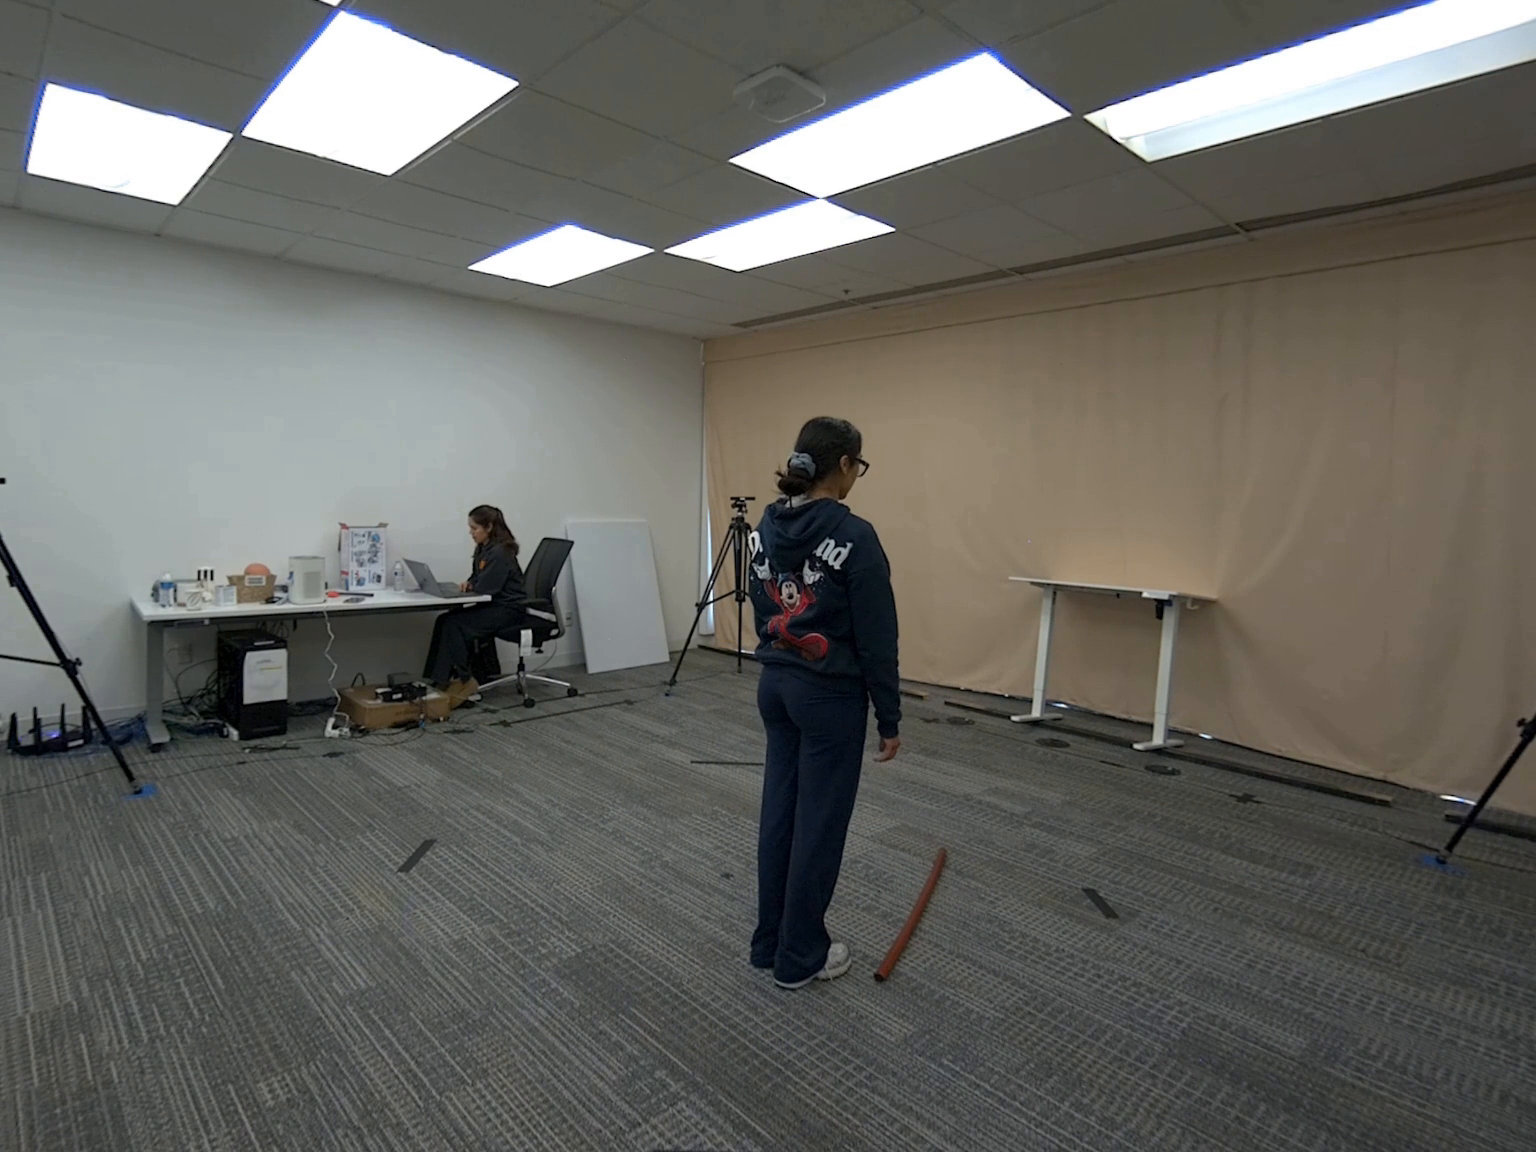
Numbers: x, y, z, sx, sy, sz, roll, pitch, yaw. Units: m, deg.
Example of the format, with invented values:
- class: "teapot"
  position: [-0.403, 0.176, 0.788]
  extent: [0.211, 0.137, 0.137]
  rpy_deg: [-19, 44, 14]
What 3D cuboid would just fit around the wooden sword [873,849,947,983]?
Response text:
- class: "wooden sword"
  position: [0.505, 1.121, 2.897]
  extent: [0.052, 0.024, 1.009]
  rpy_deg: [-9, 0, 21]
